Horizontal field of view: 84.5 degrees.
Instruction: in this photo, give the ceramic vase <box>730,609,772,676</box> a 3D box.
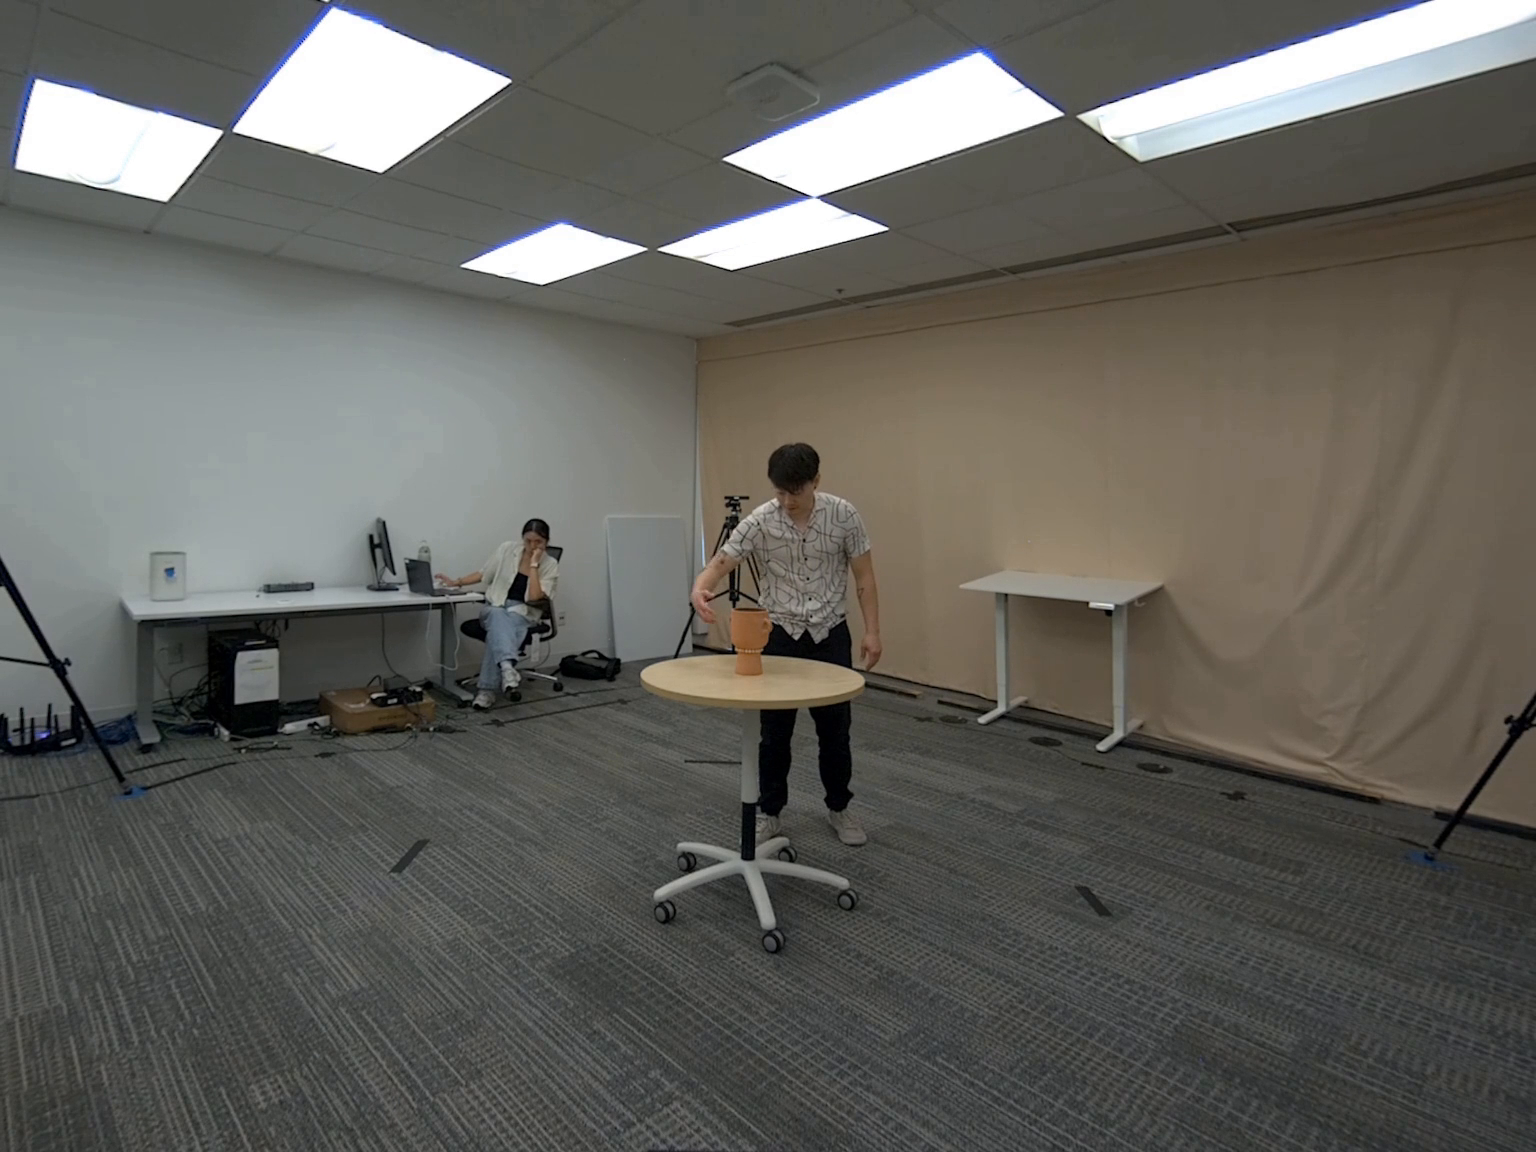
[{"bbox_3d":[-0.072,0.229,2.925,0.133,0.219,0.160,2,3,-10],"label":"ceramic vase"}]
